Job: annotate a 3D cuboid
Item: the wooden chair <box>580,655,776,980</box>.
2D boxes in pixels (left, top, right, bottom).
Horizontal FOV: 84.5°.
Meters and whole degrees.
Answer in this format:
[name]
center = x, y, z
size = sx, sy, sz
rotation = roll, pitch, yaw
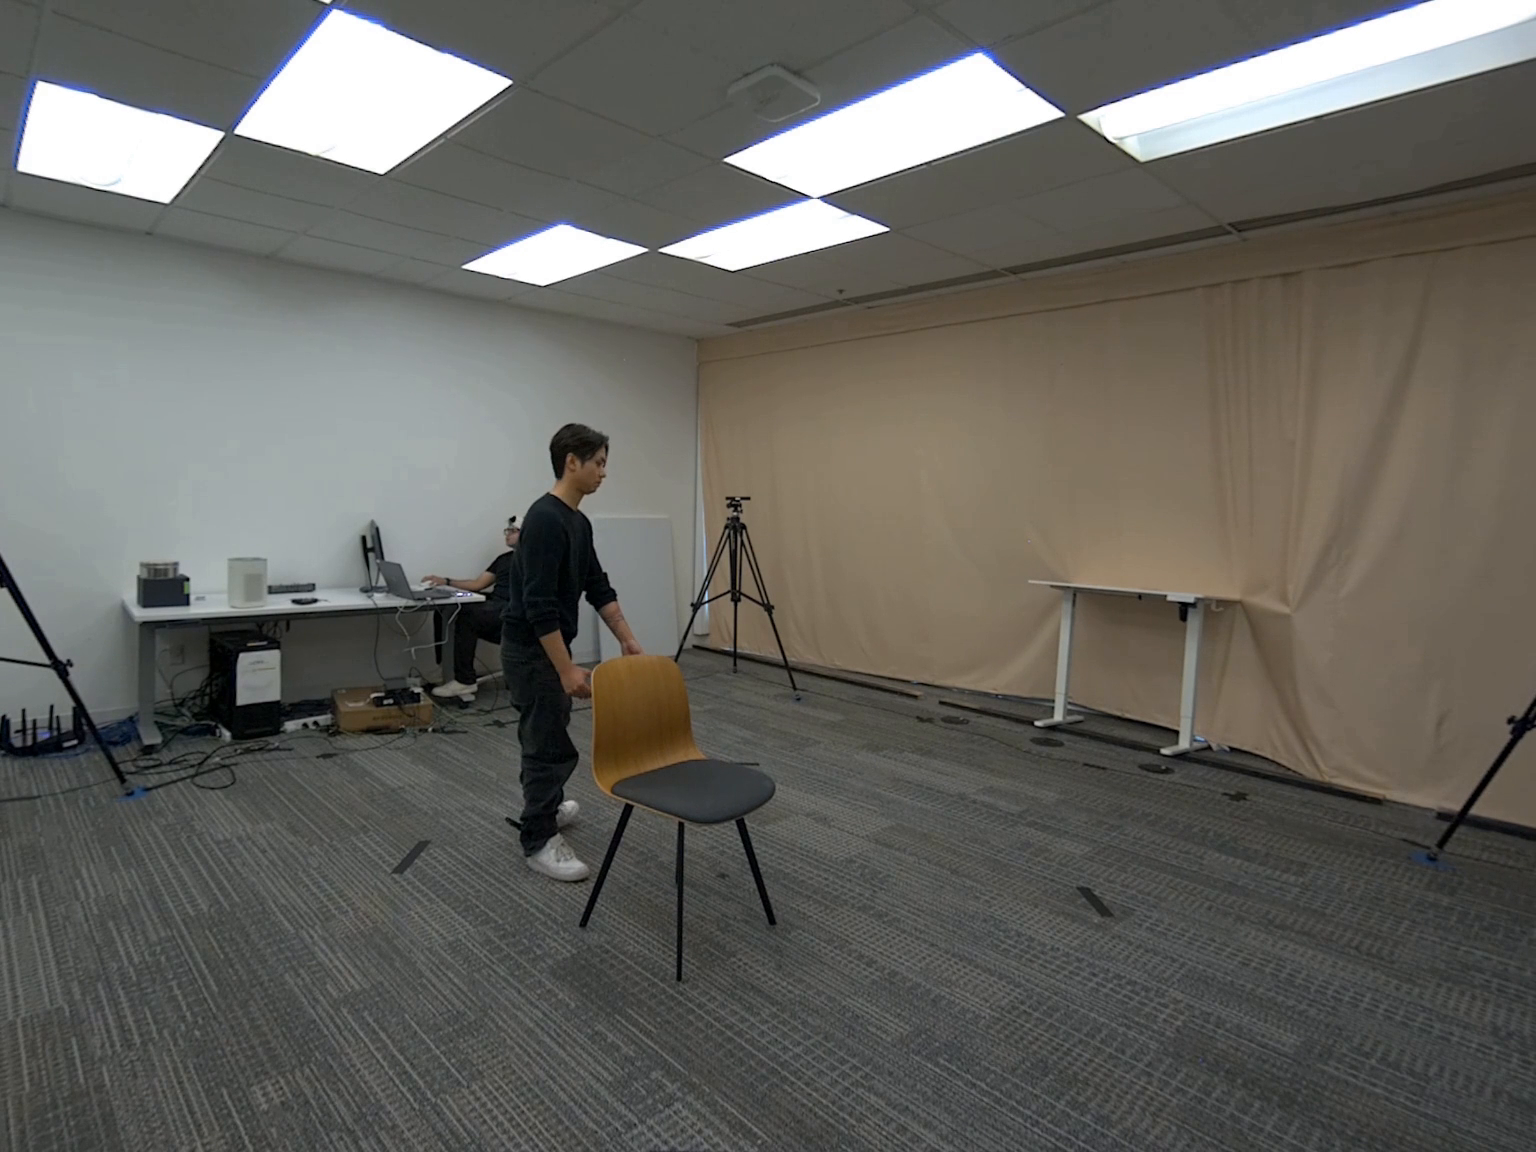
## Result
[wooden chair]
center = -0.278, 0.713, 2.693
size = 0.535, 0.877, 0.467
rotation = -2, 0, 40
